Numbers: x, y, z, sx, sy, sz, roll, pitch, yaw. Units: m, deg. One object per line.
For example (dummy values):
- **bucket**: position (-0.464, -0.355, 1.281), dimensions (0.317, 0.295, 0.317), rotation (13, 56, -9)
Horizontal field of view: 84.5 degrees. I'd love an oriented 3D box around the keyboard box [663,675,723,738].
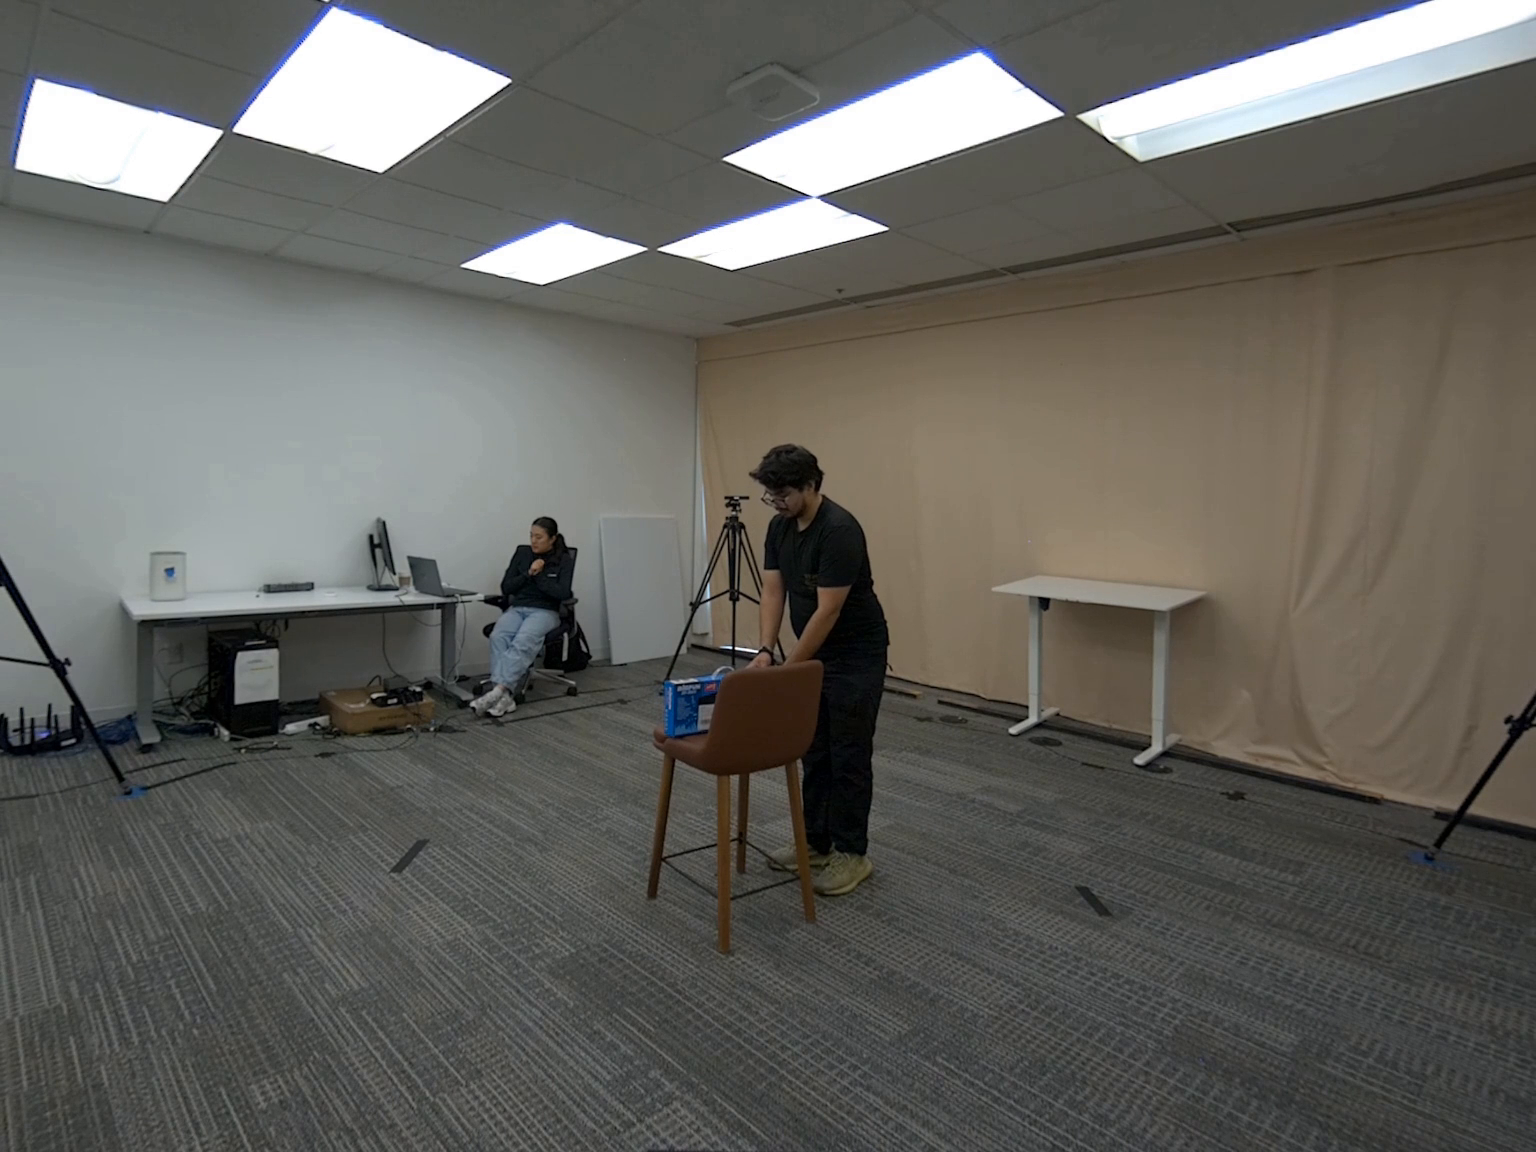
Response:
- **keyboard box**: position (-0.152, 0.427, 2.841), dimensions (0.427, 0.176, 0.060), rotation (-1, 3, -36)
